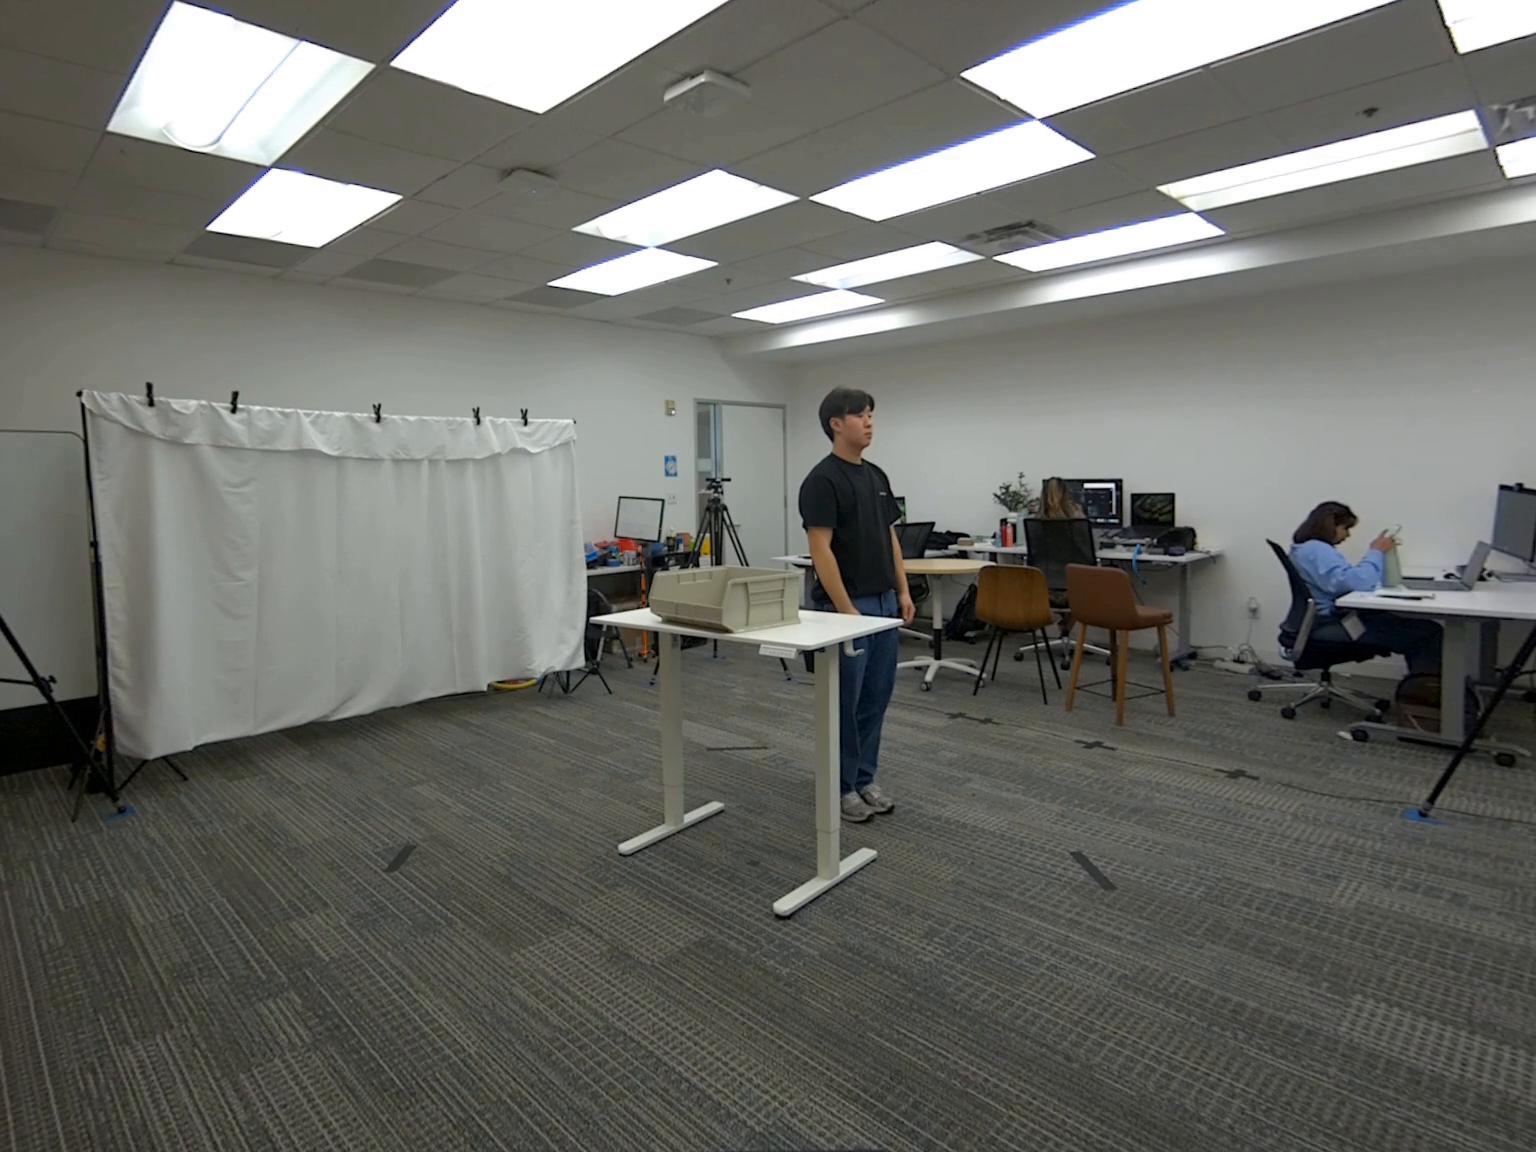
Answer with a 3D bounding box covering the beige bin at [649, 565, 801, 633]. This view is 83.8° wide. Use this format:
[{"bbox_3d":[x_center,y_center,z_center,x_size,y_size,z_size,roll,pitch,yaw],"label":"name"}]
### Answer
[{"bbox_3d":[-0.146,0.077,3.043,0.367,0.188,0.435,-4,6,-42],"label":"beige bin"}]
